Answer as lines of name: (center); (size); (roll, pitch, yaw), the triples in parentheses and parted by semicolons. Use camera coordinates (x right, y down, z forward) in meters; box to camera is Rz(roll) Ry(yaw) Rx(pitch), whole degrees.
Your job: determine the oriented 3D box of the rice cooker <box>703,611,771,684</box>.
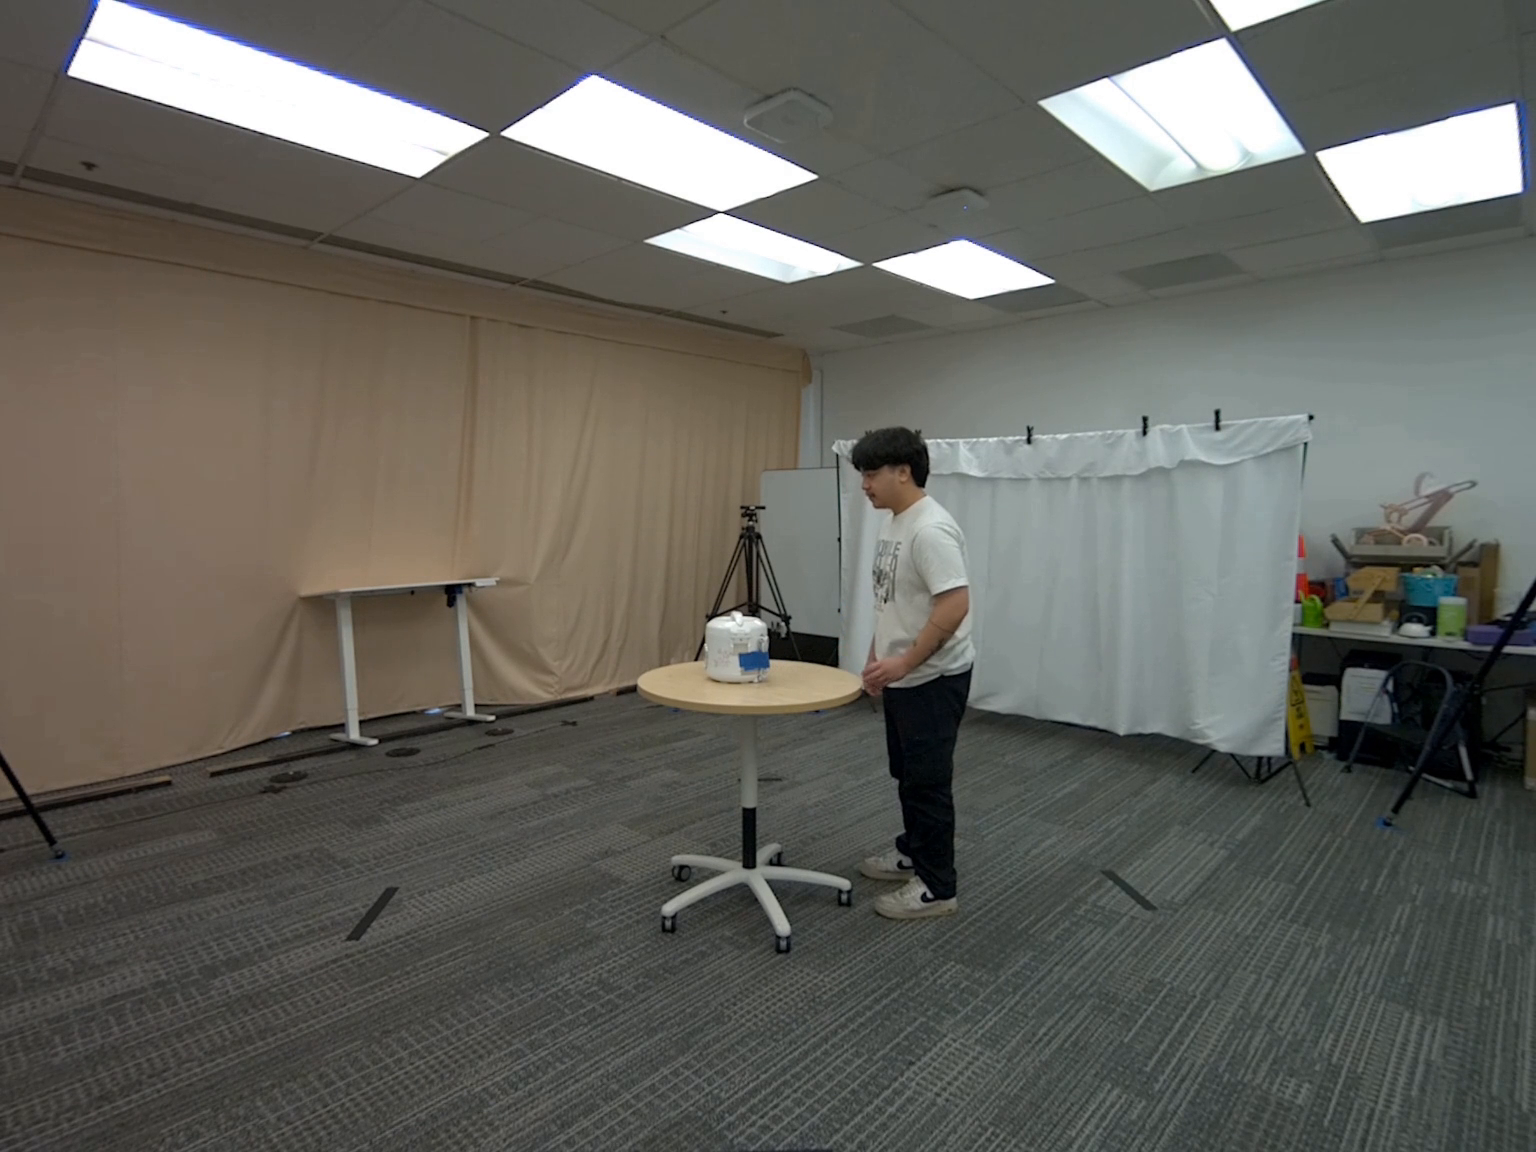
rice cooker: (-0.106, 0.238, 2.896); (0.216, 0.232, 0.222); (-1, 3, -7)
